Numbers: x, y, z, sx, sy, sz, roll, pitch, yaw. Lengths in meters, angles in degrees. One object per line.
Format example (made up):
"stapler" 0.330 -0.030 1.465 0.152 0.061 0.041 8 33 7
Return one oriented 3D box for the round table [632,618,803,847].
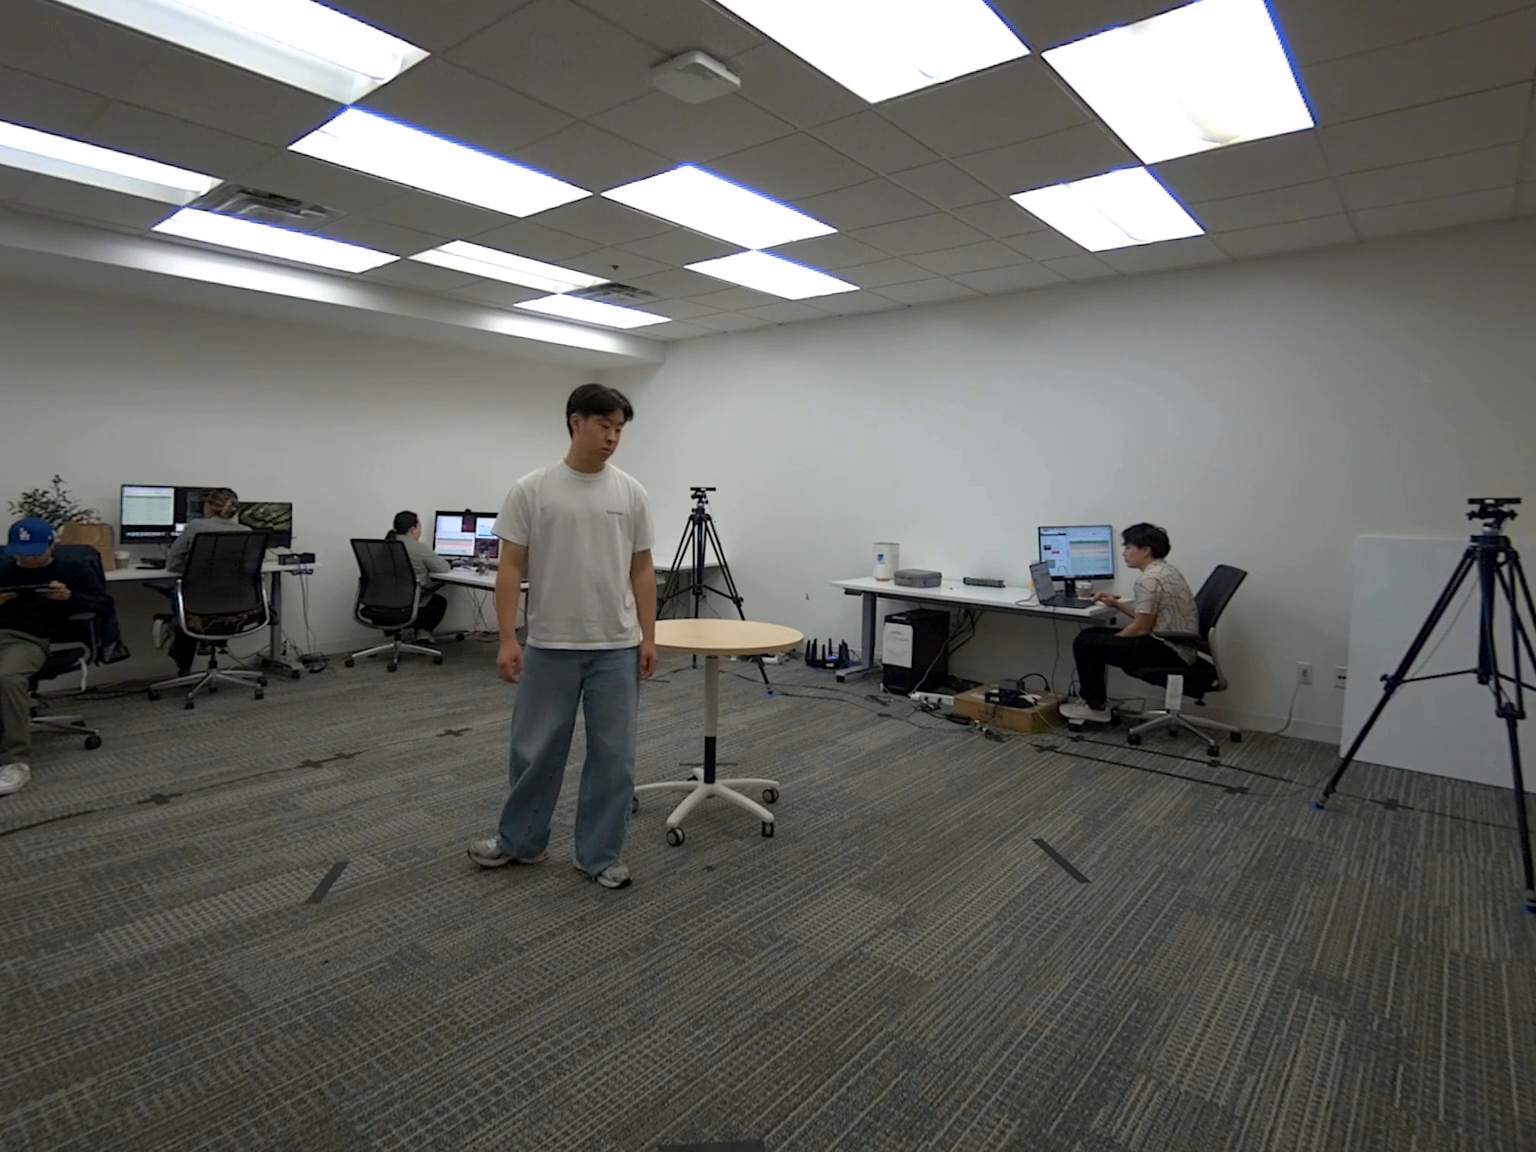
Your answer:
"round table" -0.240 0.624 3.612 0.784 0.784 0.789 1 4 -2
